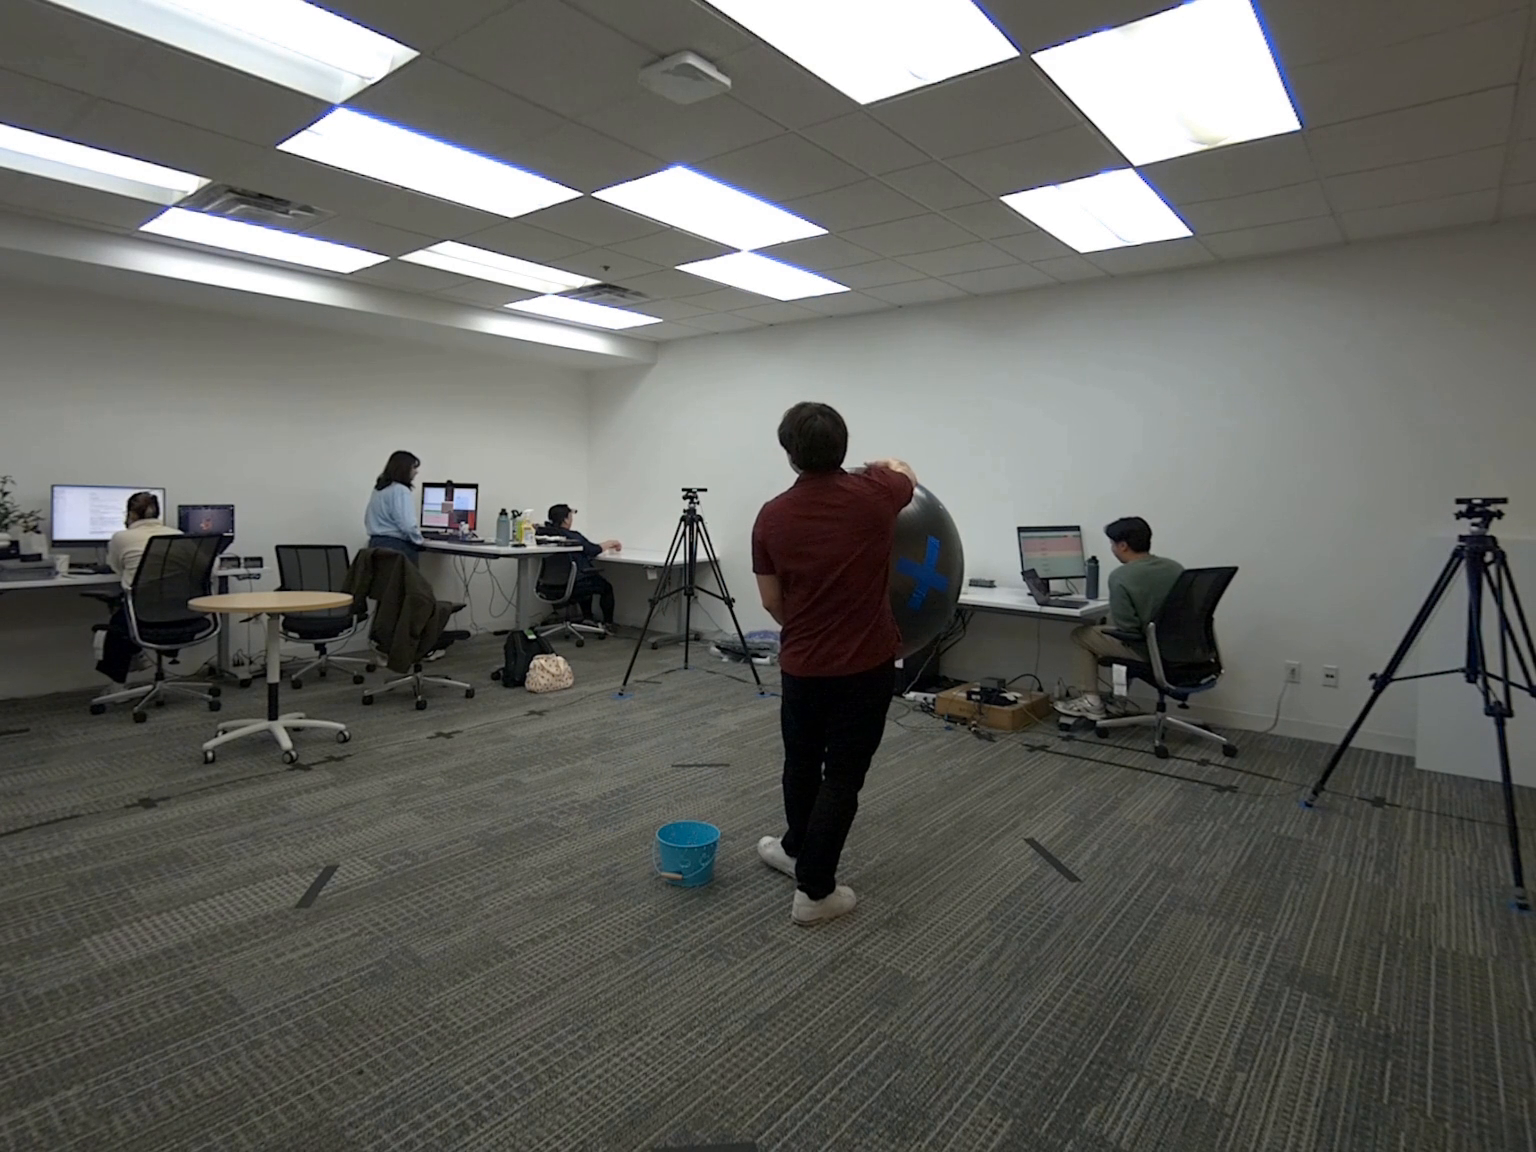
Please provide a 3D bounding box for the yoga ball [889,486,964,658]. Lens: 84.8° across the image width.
[{"bbox_3d":[0.361,-0.038,3.257,0.757,0.756,0.761,1,4,-2],"label":"yoga ball"}]
